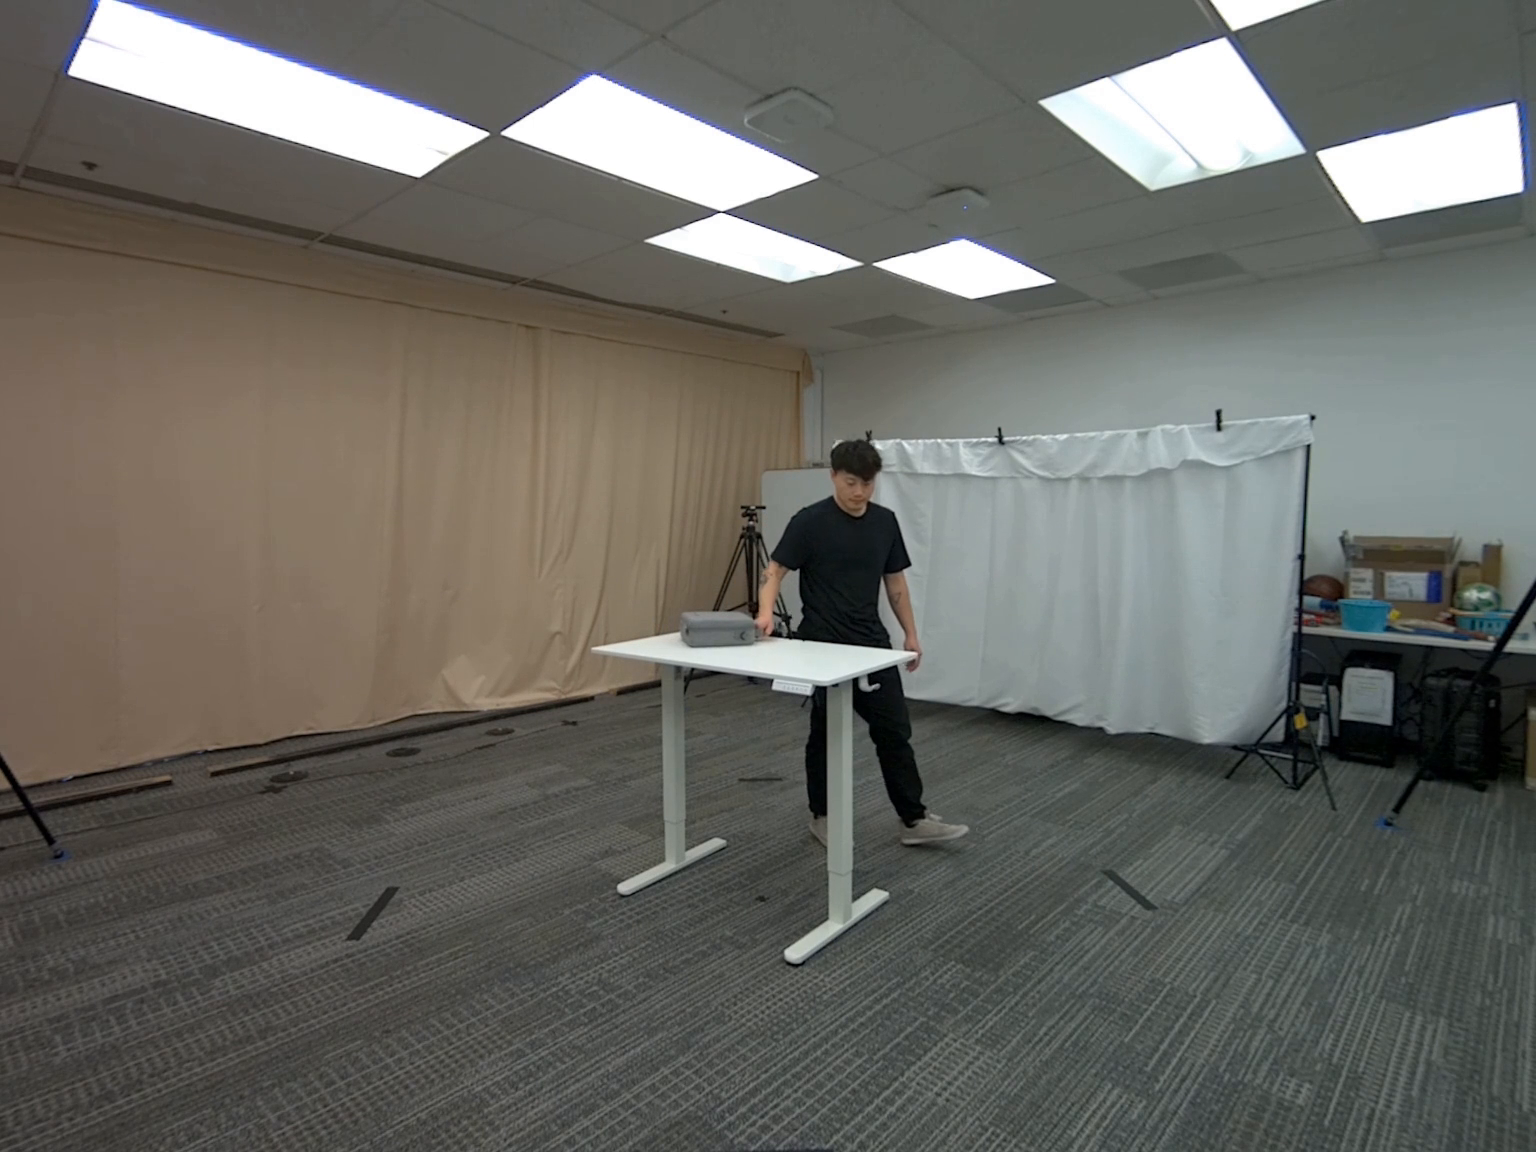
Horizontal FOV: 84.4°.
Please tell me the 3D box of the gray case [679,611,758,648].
[{"bbox_3d":[-0.189,0.197,3.173,0.258,0.104,0.260,0,3,-10],"label":"gray case"}]
